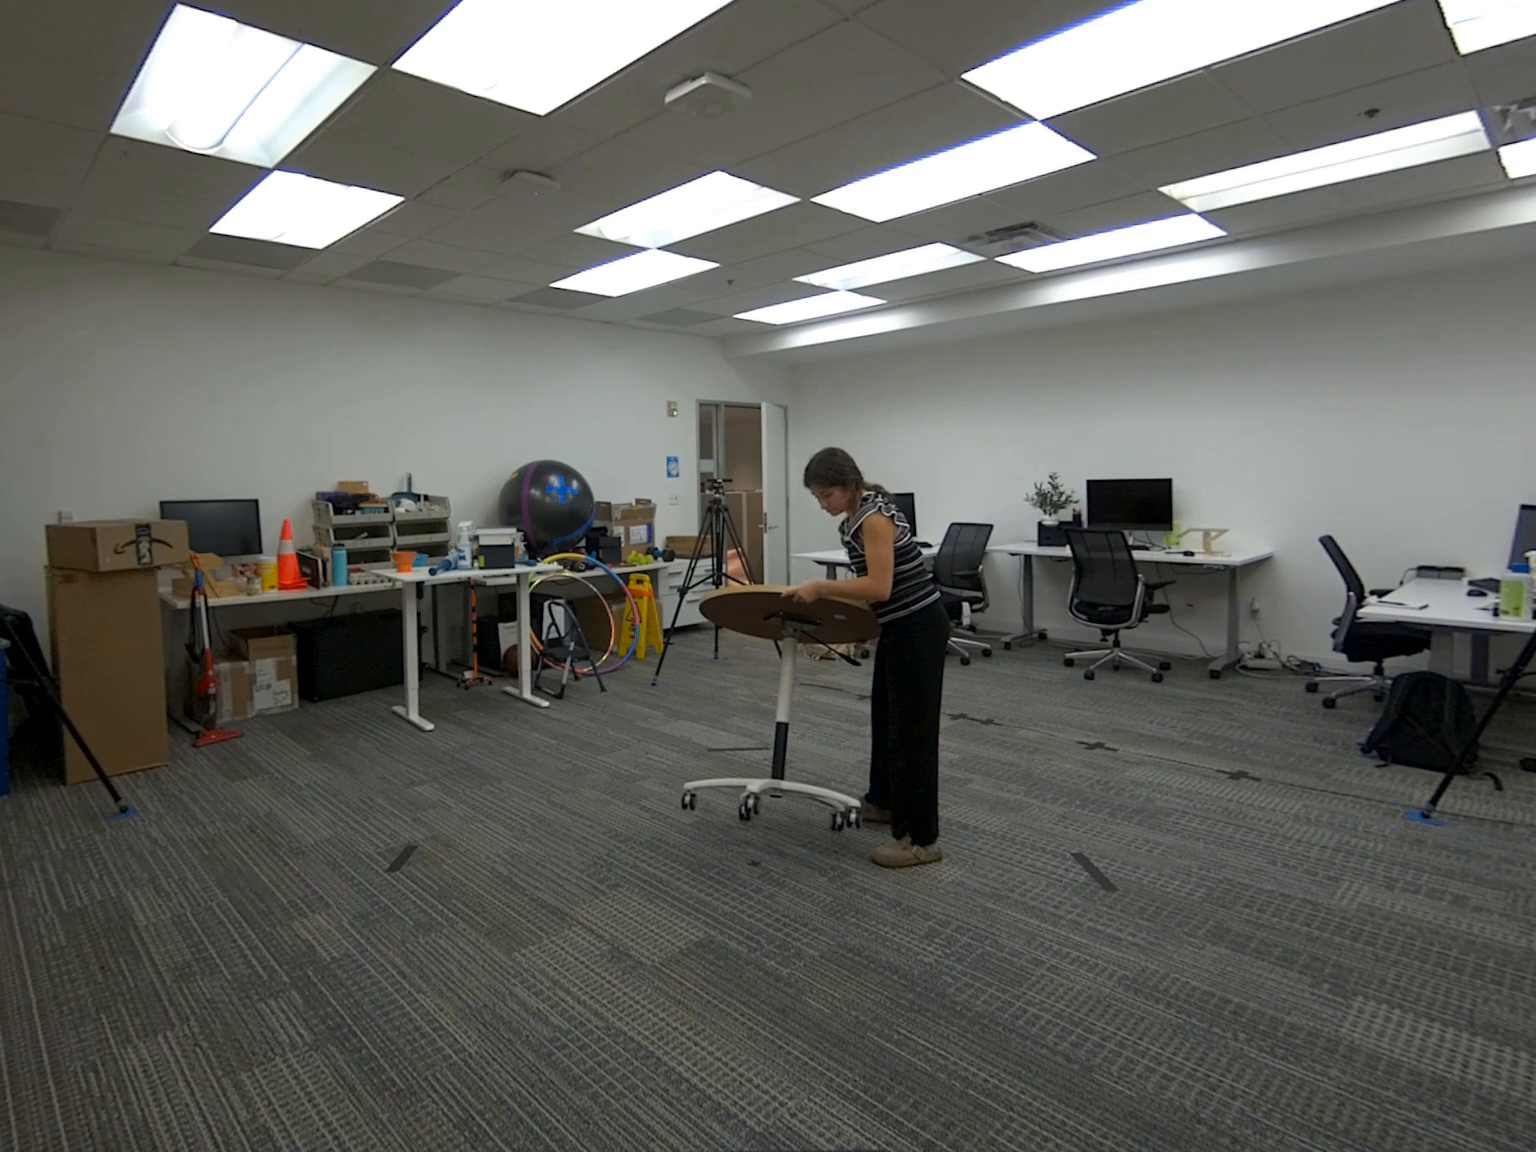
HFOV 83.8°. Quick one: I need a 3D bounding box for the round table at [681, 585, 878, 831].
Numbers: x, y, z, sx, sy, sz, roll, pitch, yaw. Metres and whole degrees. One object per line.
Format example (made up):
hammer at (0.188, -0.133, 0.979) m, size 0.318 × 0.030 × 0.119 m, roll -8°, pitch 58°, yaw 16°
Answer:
round table at (0.066, 0.529, 3.312) m, size 0.786 × 0.798 × 0.773 m, roll 6°, pitch -19°, yaw 0°
